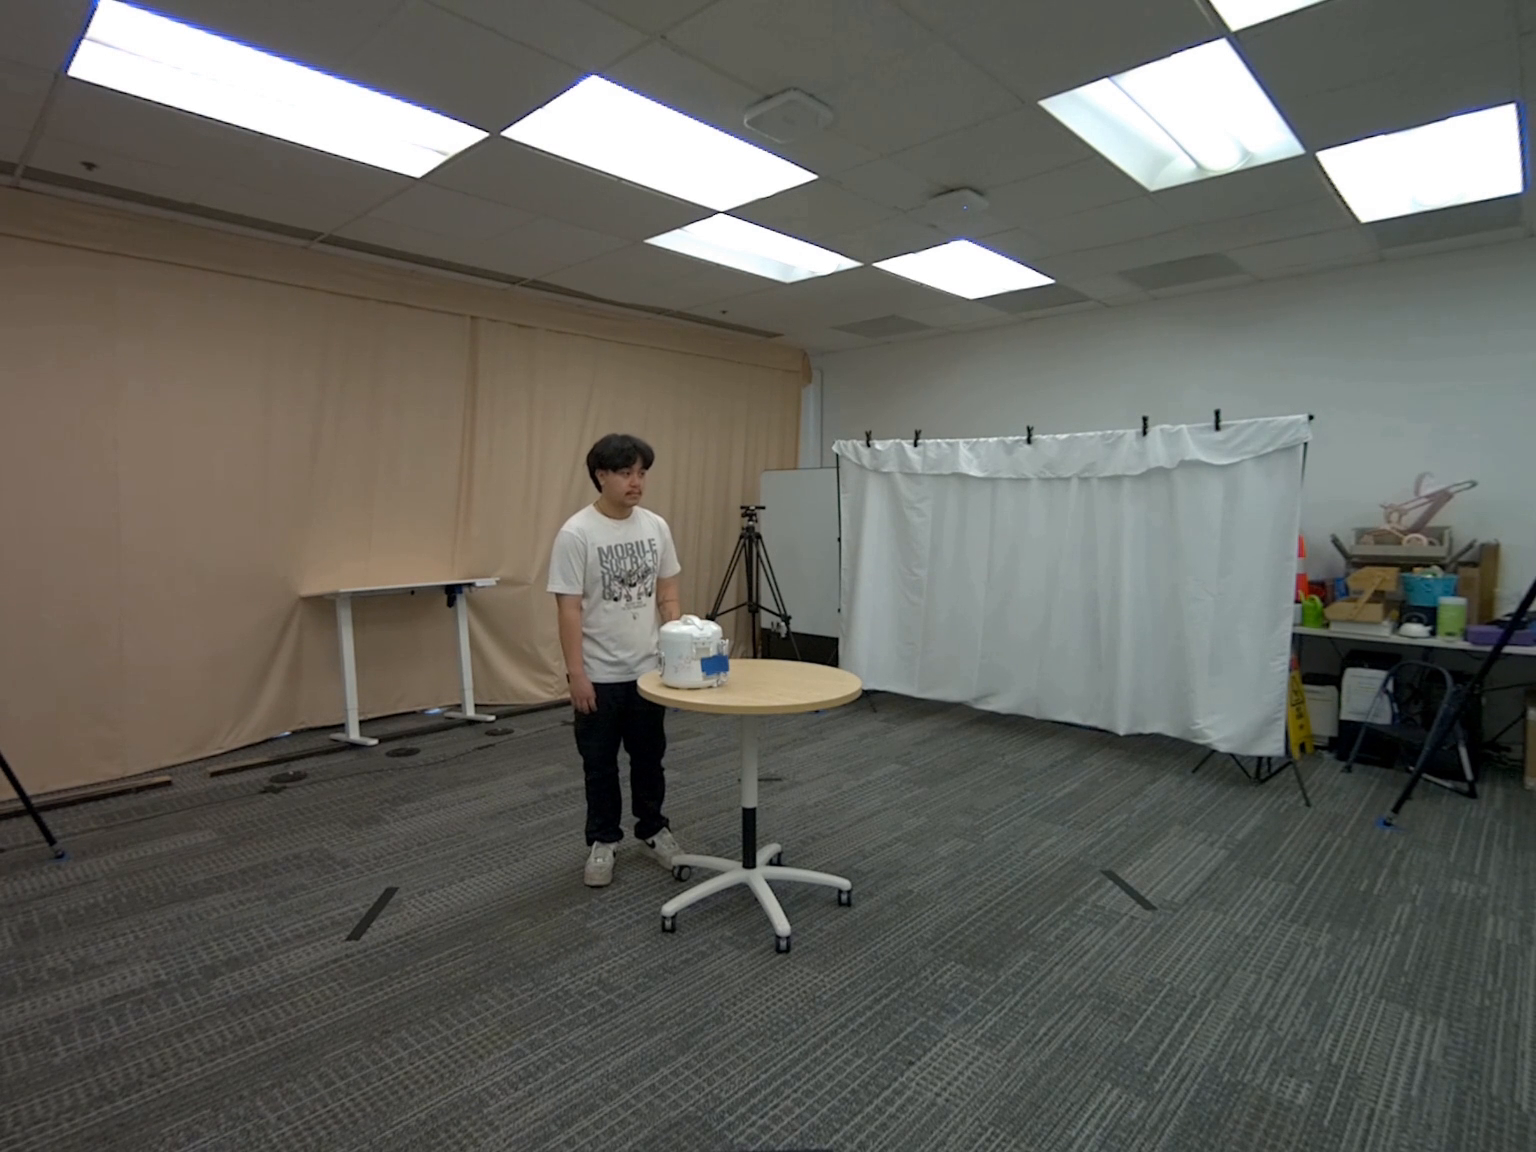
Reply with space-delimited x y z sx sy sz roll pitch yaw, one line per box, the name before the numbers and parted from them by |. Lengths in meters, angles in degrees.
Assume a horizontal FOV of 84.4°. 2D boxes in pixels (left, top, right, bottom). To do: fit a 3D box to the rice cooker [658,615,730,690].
rice cooker | -0.253 0.248 2.800 0.212 0.232 0.226 0 3 -24
